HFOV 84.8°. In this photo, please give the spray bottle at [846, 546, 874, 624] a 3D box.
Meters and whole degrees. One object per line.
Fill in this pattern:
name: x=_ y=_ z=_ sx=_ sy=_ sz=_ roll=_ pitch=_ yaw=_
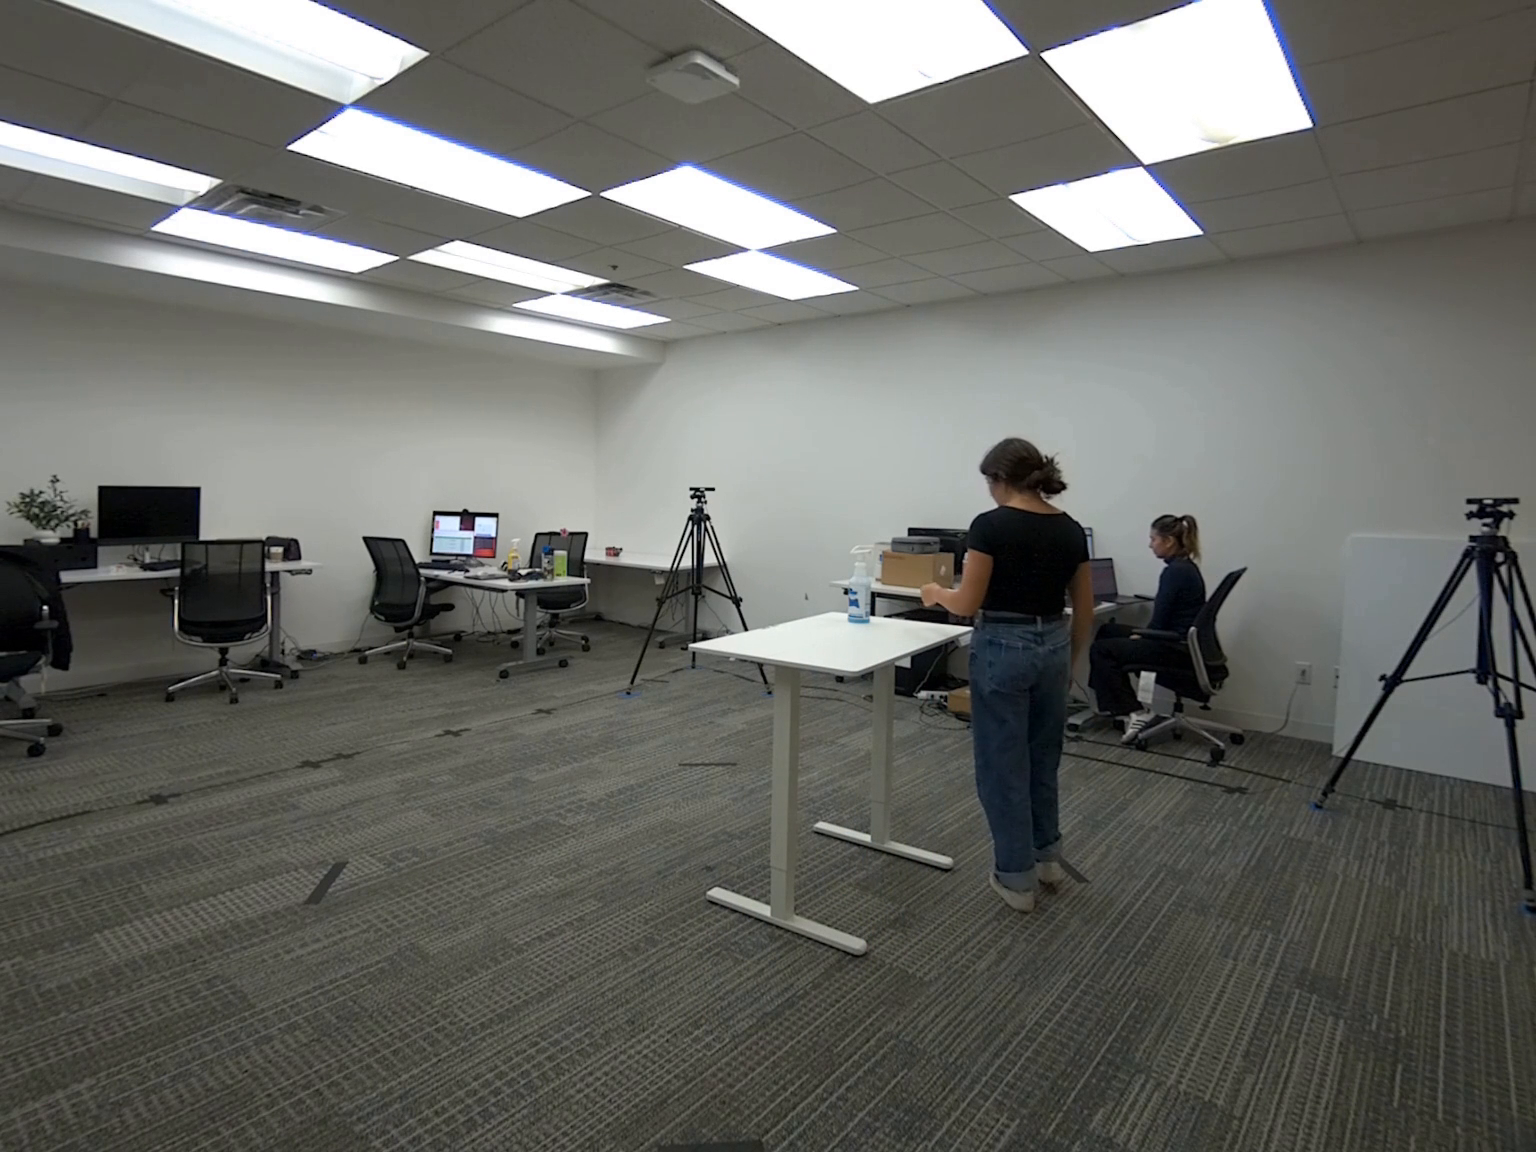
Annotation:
spray bottle: x=0.352 y=0.032 z=3.307 sx=0.092 sy=0.297 sz=0.085 roll=3 pitch=1 yaw=17
